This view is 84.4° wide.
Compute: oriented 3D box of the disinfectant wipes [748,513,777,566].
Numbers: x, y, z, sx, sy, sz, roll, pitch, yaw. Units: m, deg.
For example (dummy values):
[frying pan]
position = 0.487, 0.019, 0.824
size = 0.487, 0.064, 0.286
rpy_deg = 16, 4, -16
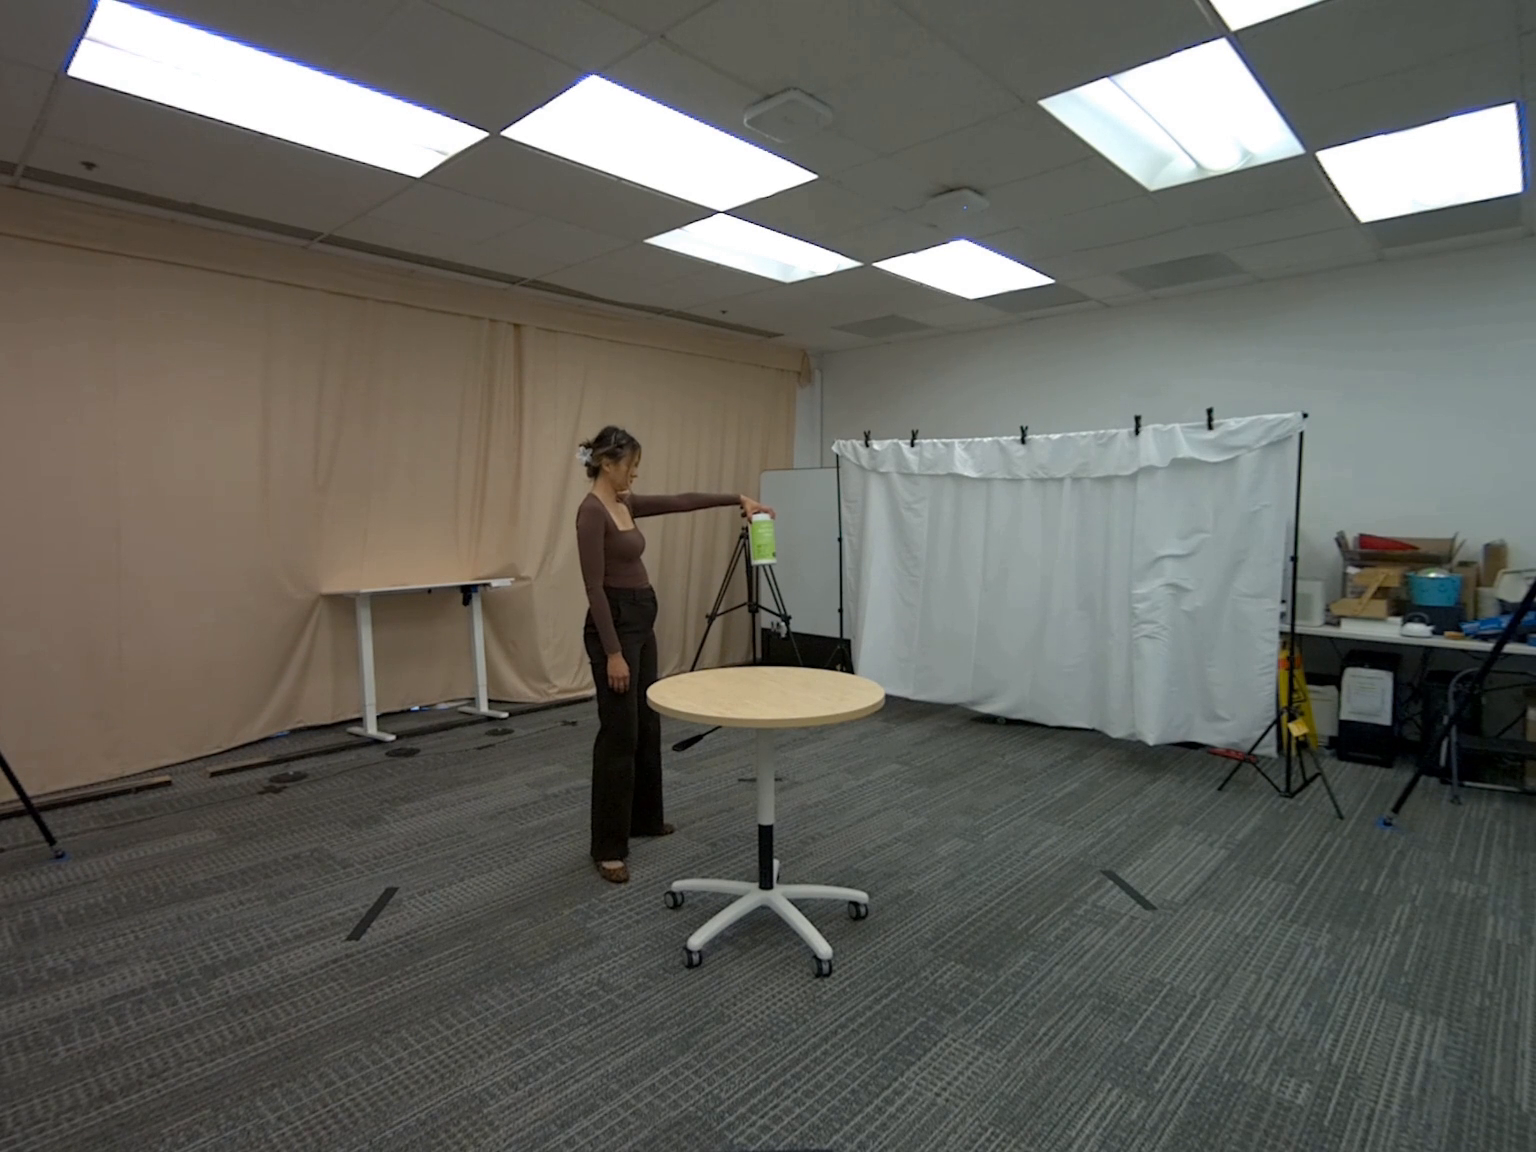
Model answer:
[disinfectant wipes]
position = -0.026, -0.154, 3.599
size = 0.117, 0.218, 0.117
rpy_deg = -3, -4, -2
